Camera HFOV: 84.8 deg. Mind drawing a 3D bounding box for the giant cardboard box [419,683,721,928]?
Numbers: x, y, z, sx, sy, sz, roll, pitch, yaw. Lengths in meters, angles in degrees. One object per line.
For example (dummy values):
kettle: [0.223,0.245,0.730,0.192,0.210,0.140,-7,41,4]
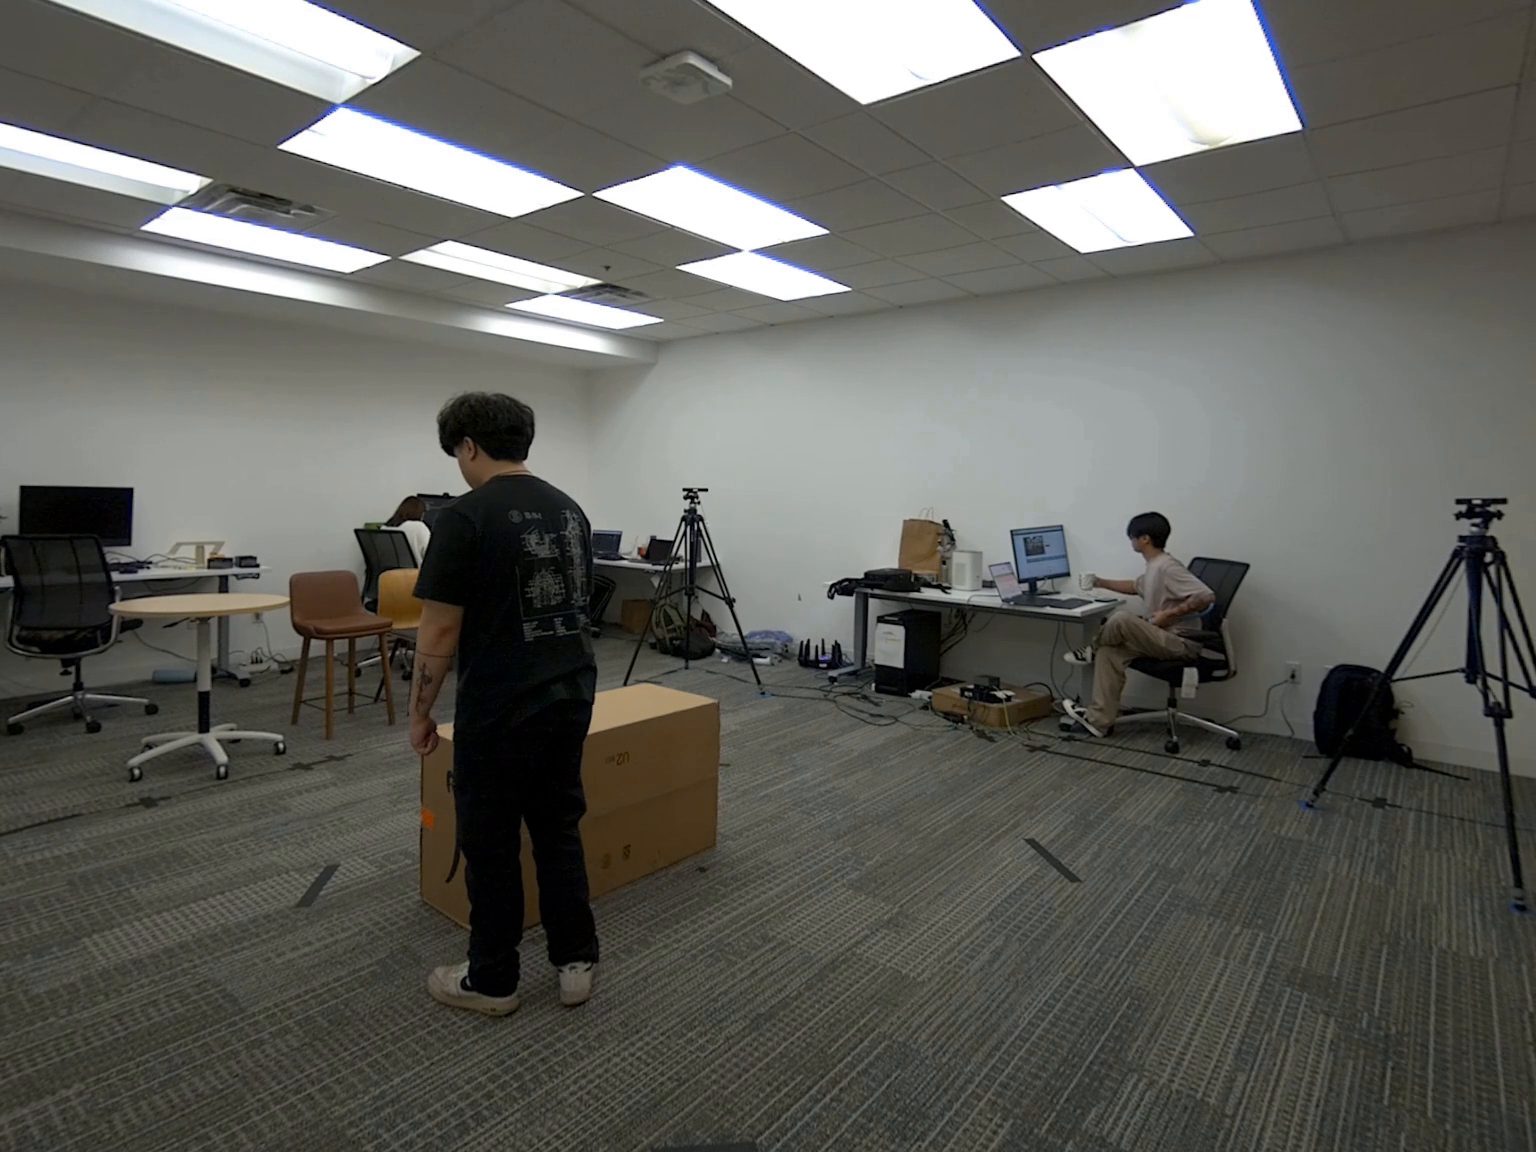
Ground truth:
giant cardboard box: [-0.683,0.780,3.073,0.461,0.582,0.996,3,4,39]
